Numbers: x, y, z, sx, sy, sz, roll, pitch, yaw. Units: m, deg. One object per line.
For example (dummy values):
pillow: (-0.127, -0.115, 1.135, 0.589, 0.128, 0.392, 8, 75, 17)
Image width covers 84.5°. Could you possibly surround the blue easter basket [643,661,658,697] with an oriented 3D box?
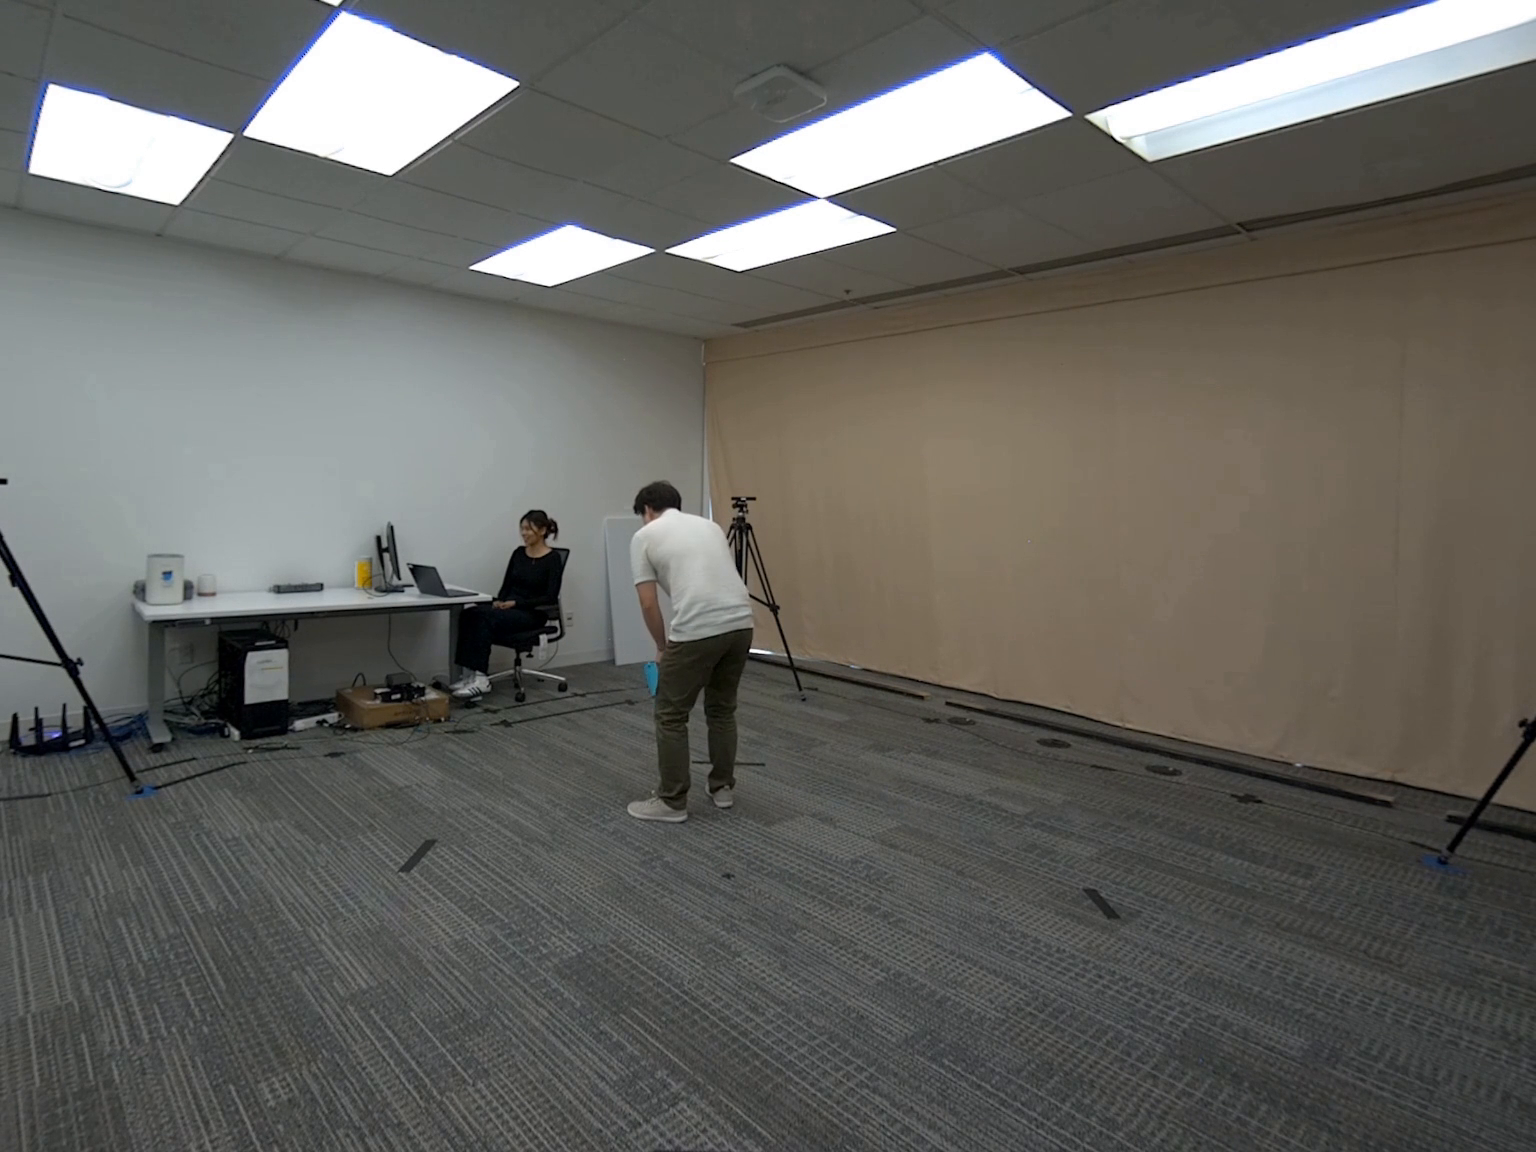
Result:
blue easter basket: (-0.476, 0.479, 3.963, 0.243, 0.158, 0.241, -9, -14, -4)
